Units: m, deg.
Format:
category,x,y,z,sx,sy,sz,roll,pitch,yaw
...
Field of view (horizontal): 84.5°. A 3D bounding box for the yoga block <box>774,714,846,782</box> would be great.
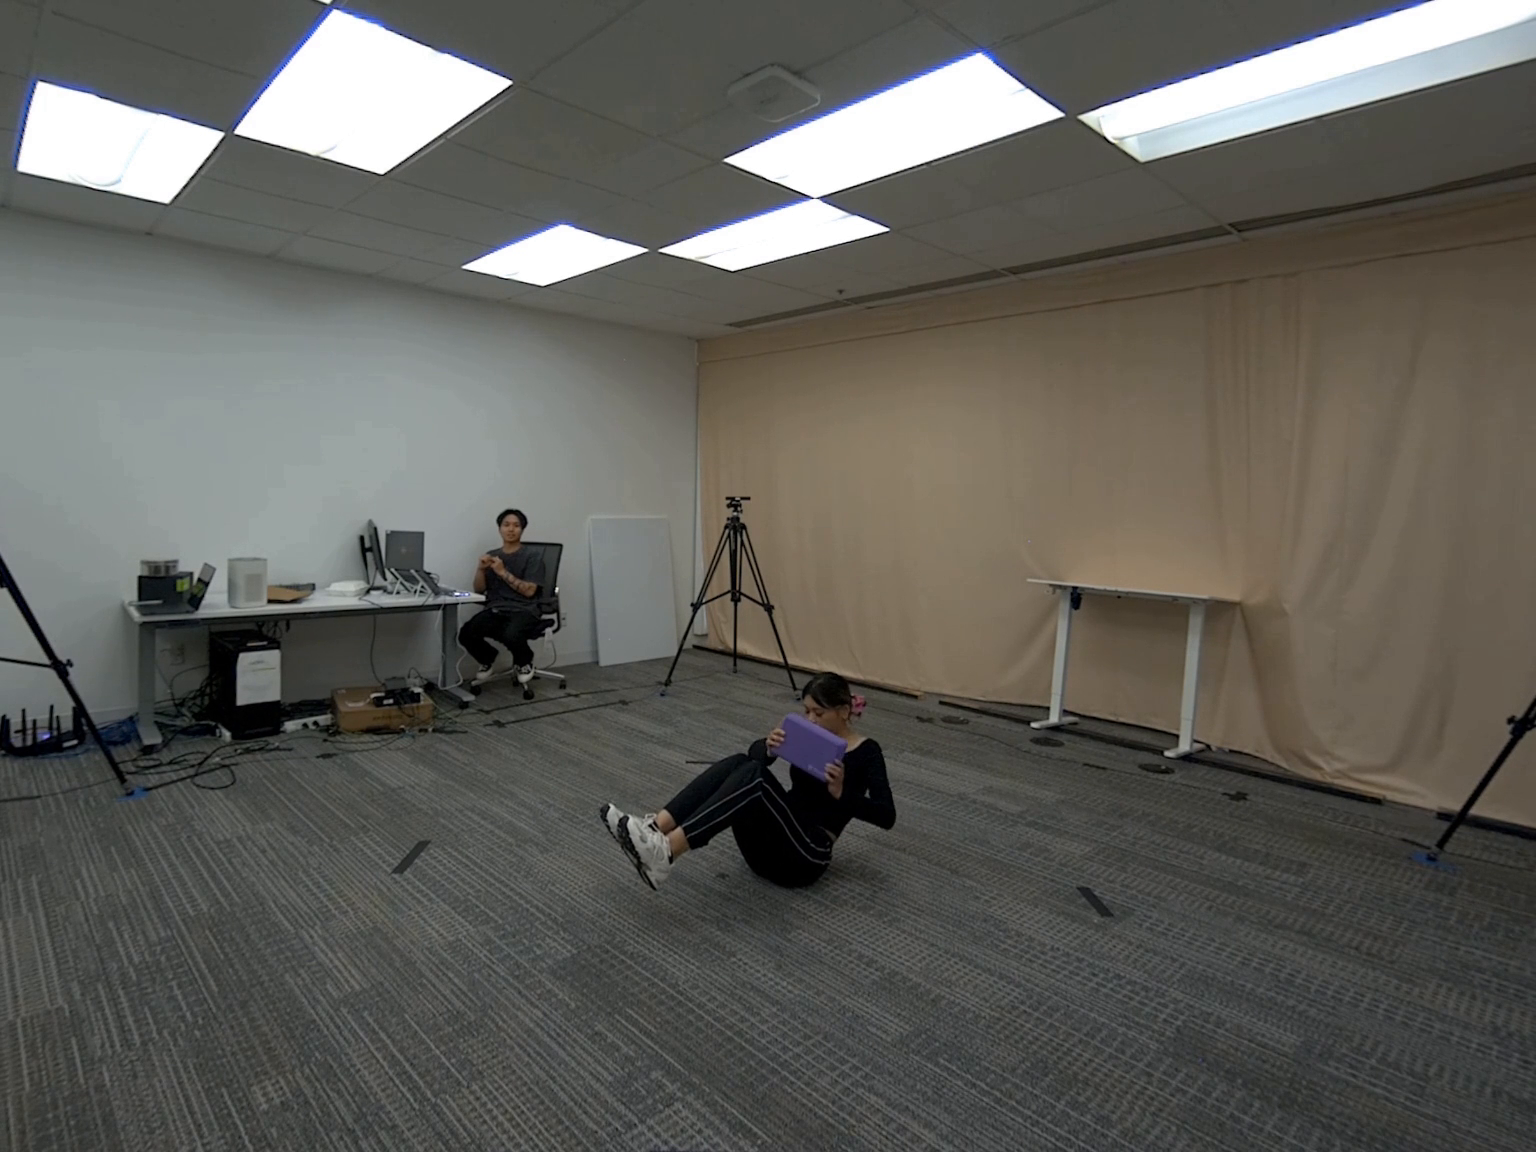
category,x,y,z,sx,sy,sz,roll,pitch,yaw
yoga block,0.143,0.599,2.923,0.235,0.148,0.075,23,9,24
